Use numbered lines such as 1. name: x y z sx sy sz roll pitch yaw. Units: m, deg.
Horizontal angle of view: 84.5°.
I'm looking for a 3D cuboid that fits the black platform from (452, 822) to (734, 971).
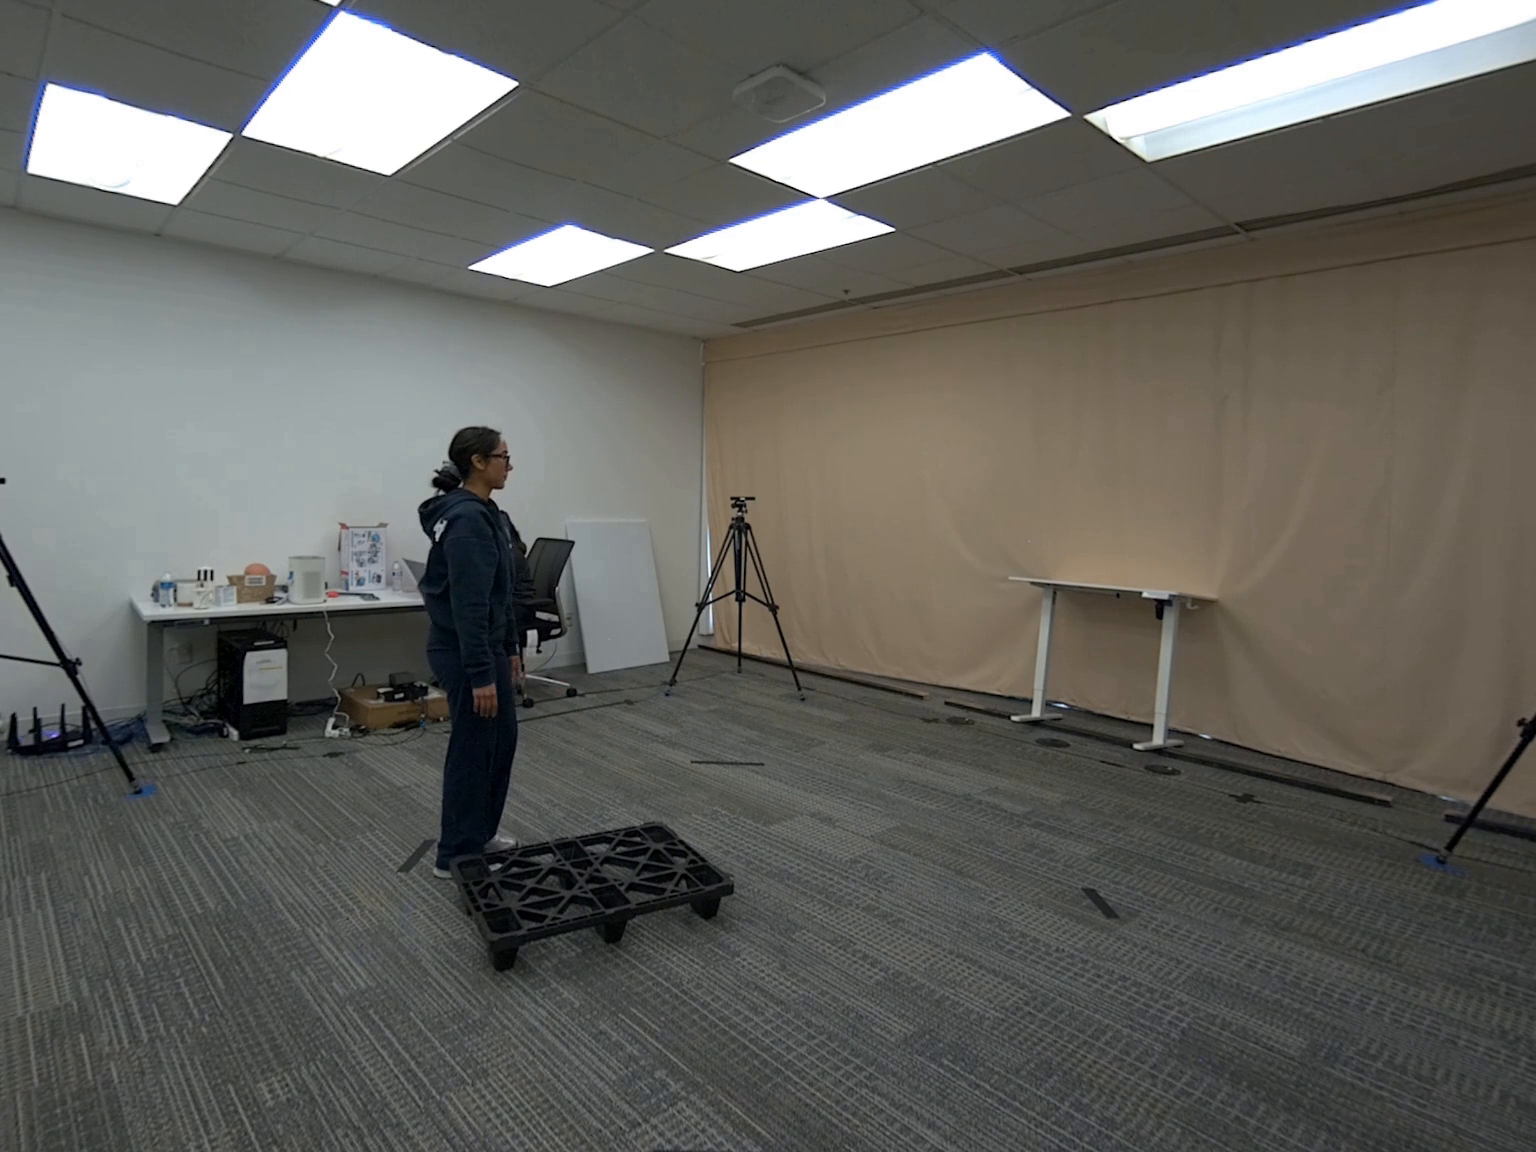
1. black platform: -0.608 1.055 2.819 0.789 0.143 0.619 -2 6 -31
